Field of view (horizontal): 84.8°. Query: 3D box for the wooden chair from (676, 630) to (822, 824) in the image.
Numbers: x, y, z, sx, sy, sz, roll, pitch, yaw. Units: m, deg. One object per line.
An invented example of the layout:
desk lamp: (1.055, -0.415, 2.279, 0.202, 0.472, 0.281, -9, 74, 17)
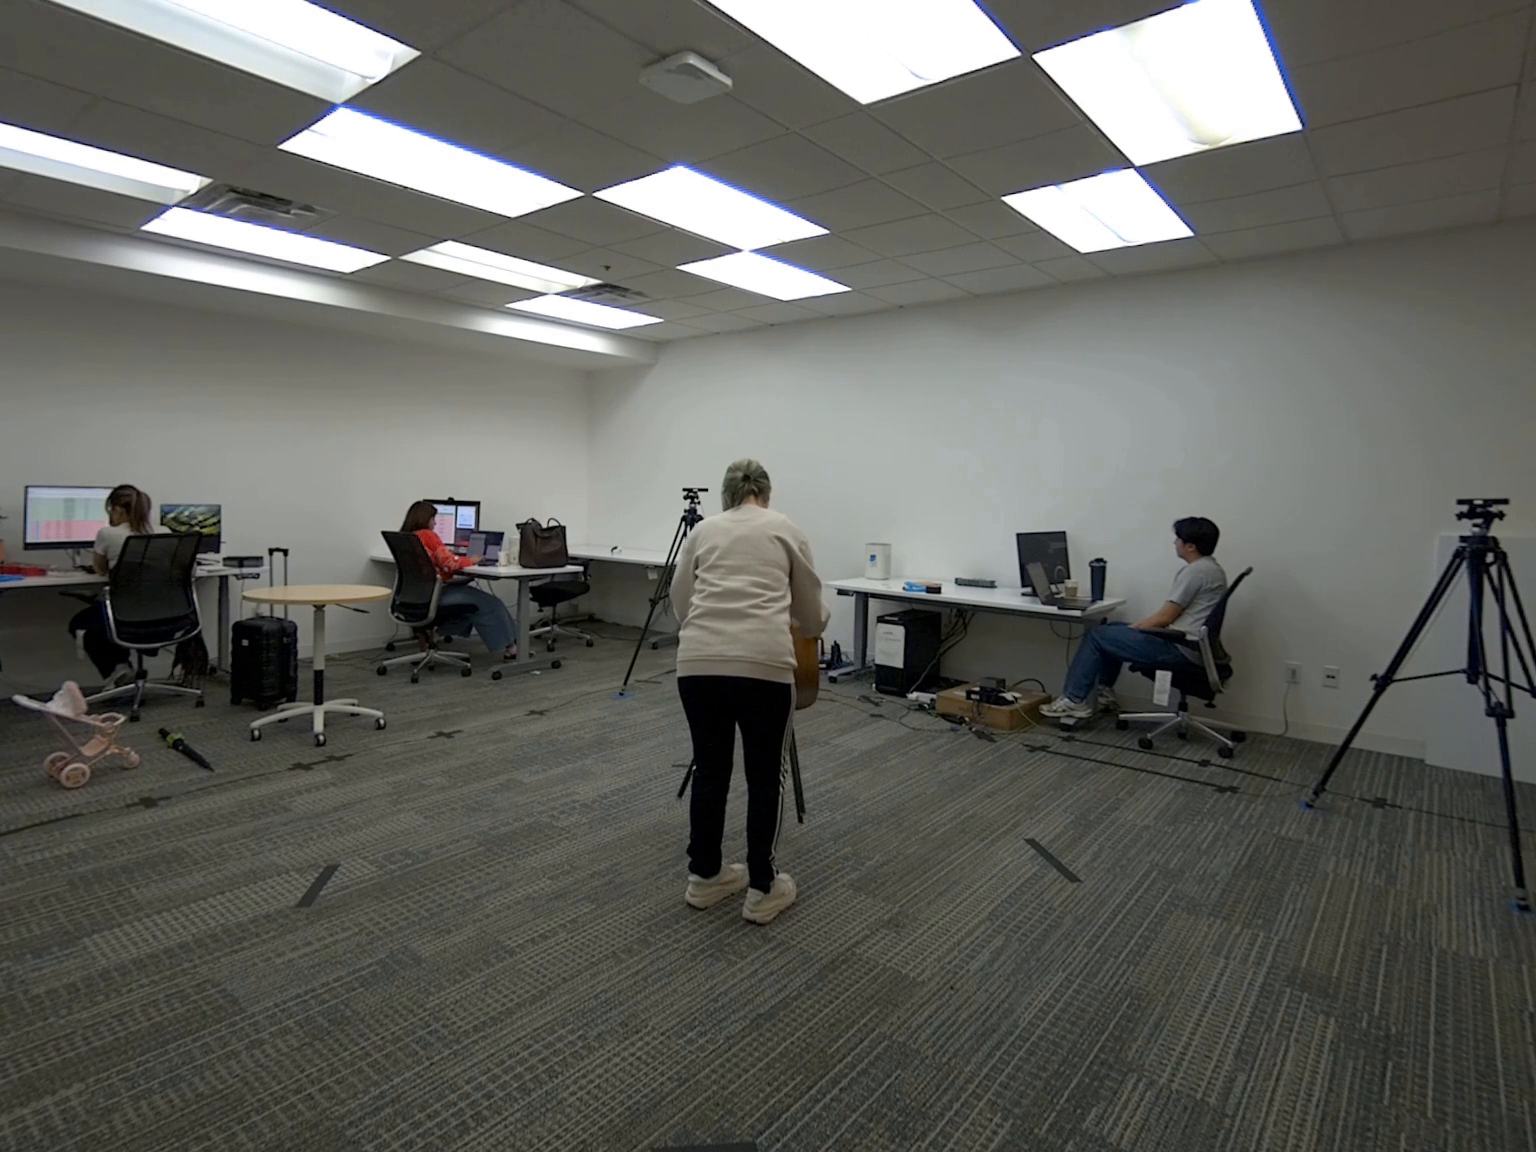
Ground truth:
wooden chair: (-0.054, 0.474, 3.309, 0.482, 0.890, 0.512, 4, -16, 5)
